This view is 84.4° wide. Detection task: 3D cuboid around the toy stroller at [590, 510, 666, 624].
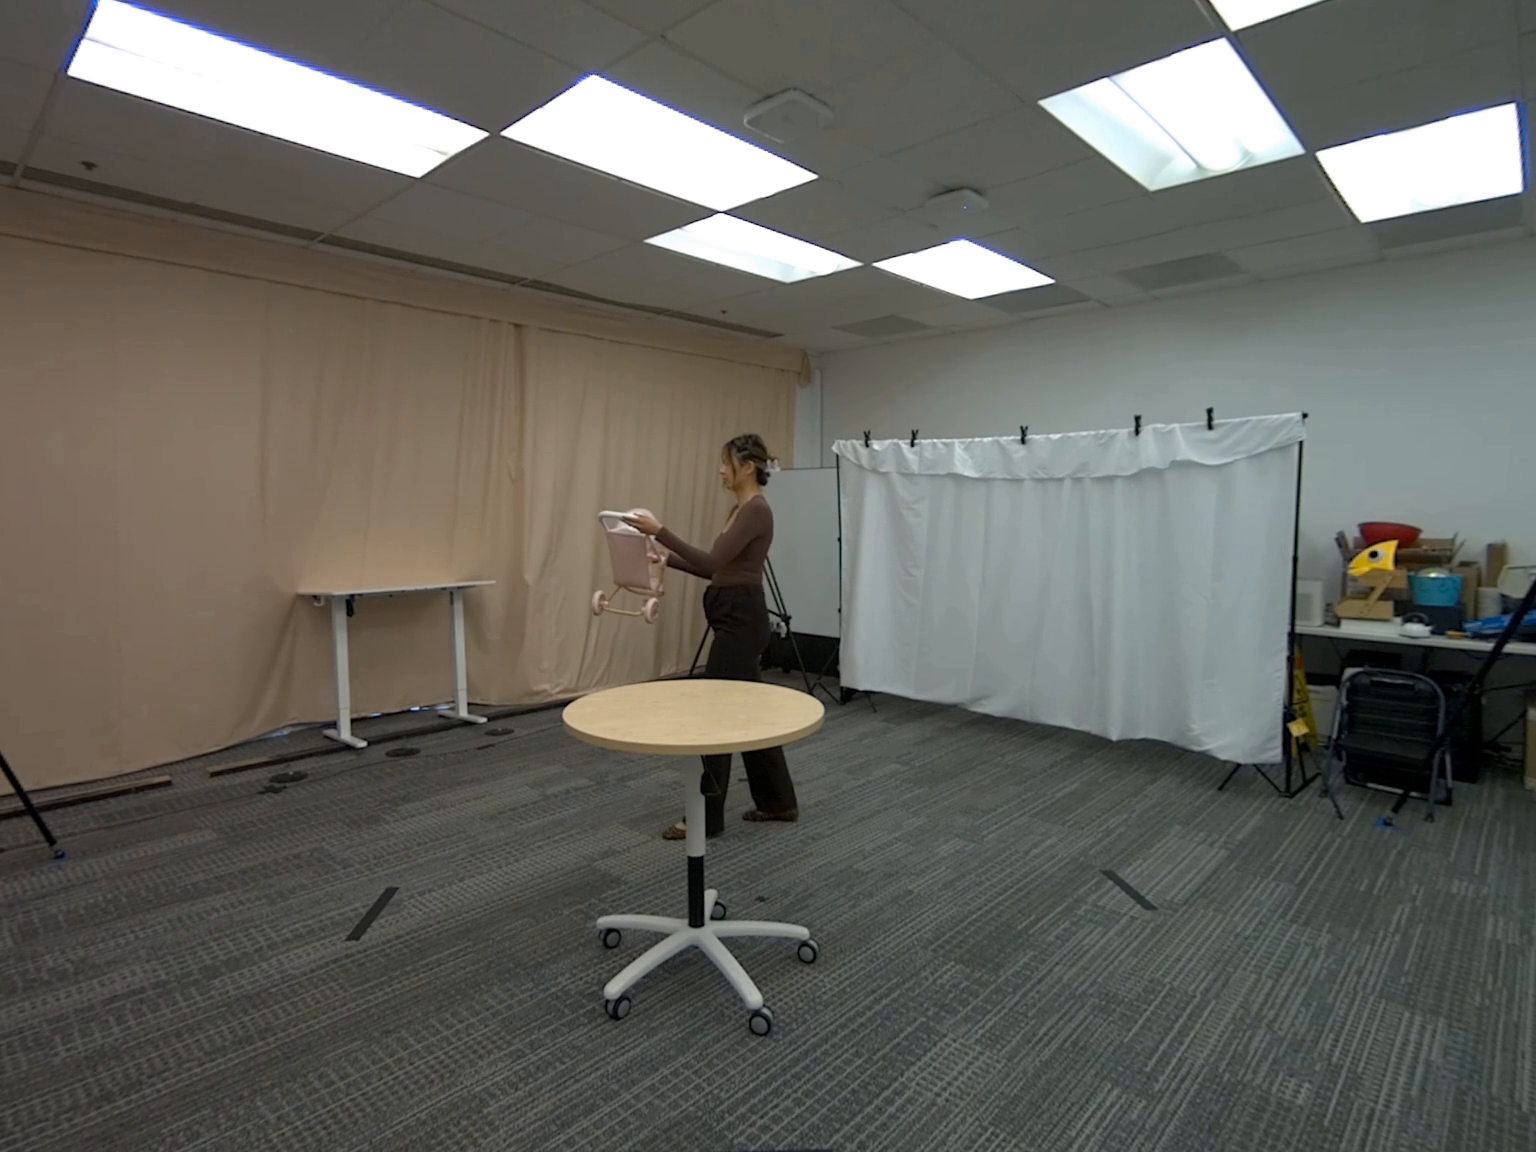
[{"bbox_3d":[-0.559,-0.048,3.611,0.288,0.529,0.337,8,19,20],"label":"toy stroller"}]
